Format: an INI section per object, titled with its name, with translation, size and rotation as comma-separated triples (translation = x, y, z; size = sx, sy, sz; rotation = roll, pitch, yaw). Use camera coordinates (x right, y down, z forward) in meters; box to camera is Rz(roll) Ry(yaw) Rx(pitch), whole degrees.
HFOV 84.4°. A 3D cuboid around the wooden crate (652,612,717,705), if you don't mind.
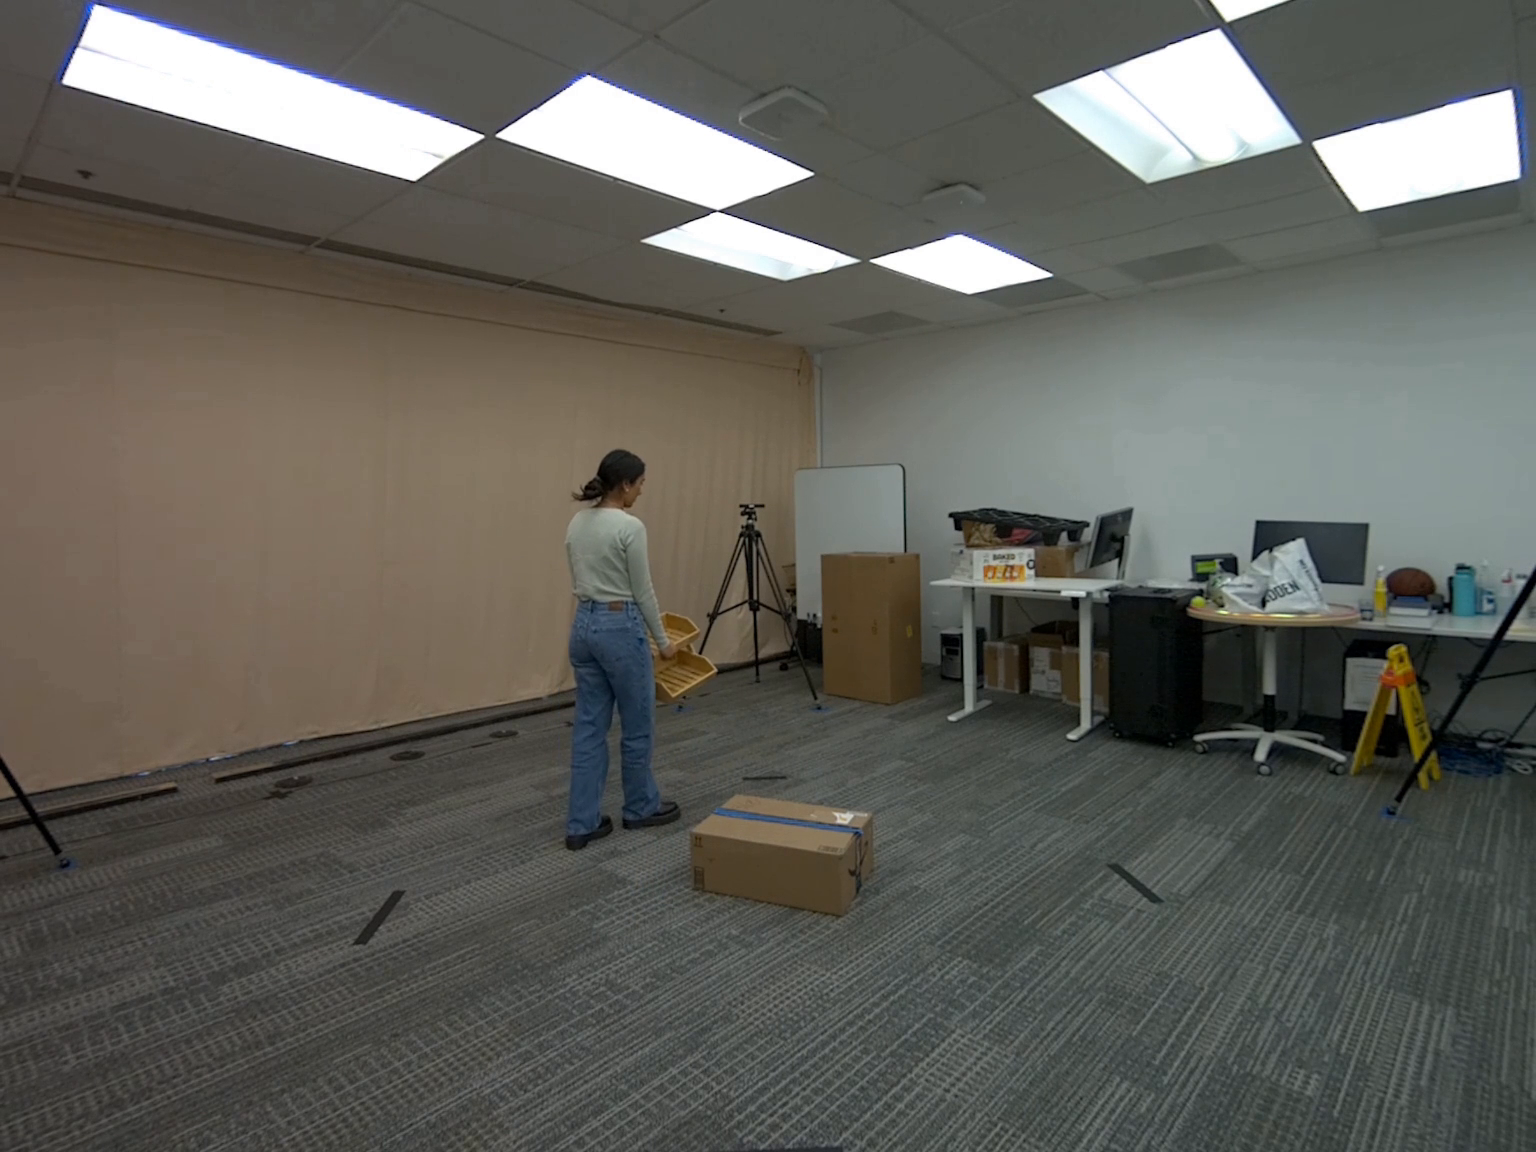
[wooden crate]
translation = -0.434, 0.358, 3.756
size = 0.312, 0.270, 0.317
rotation = 14, 26, 37
